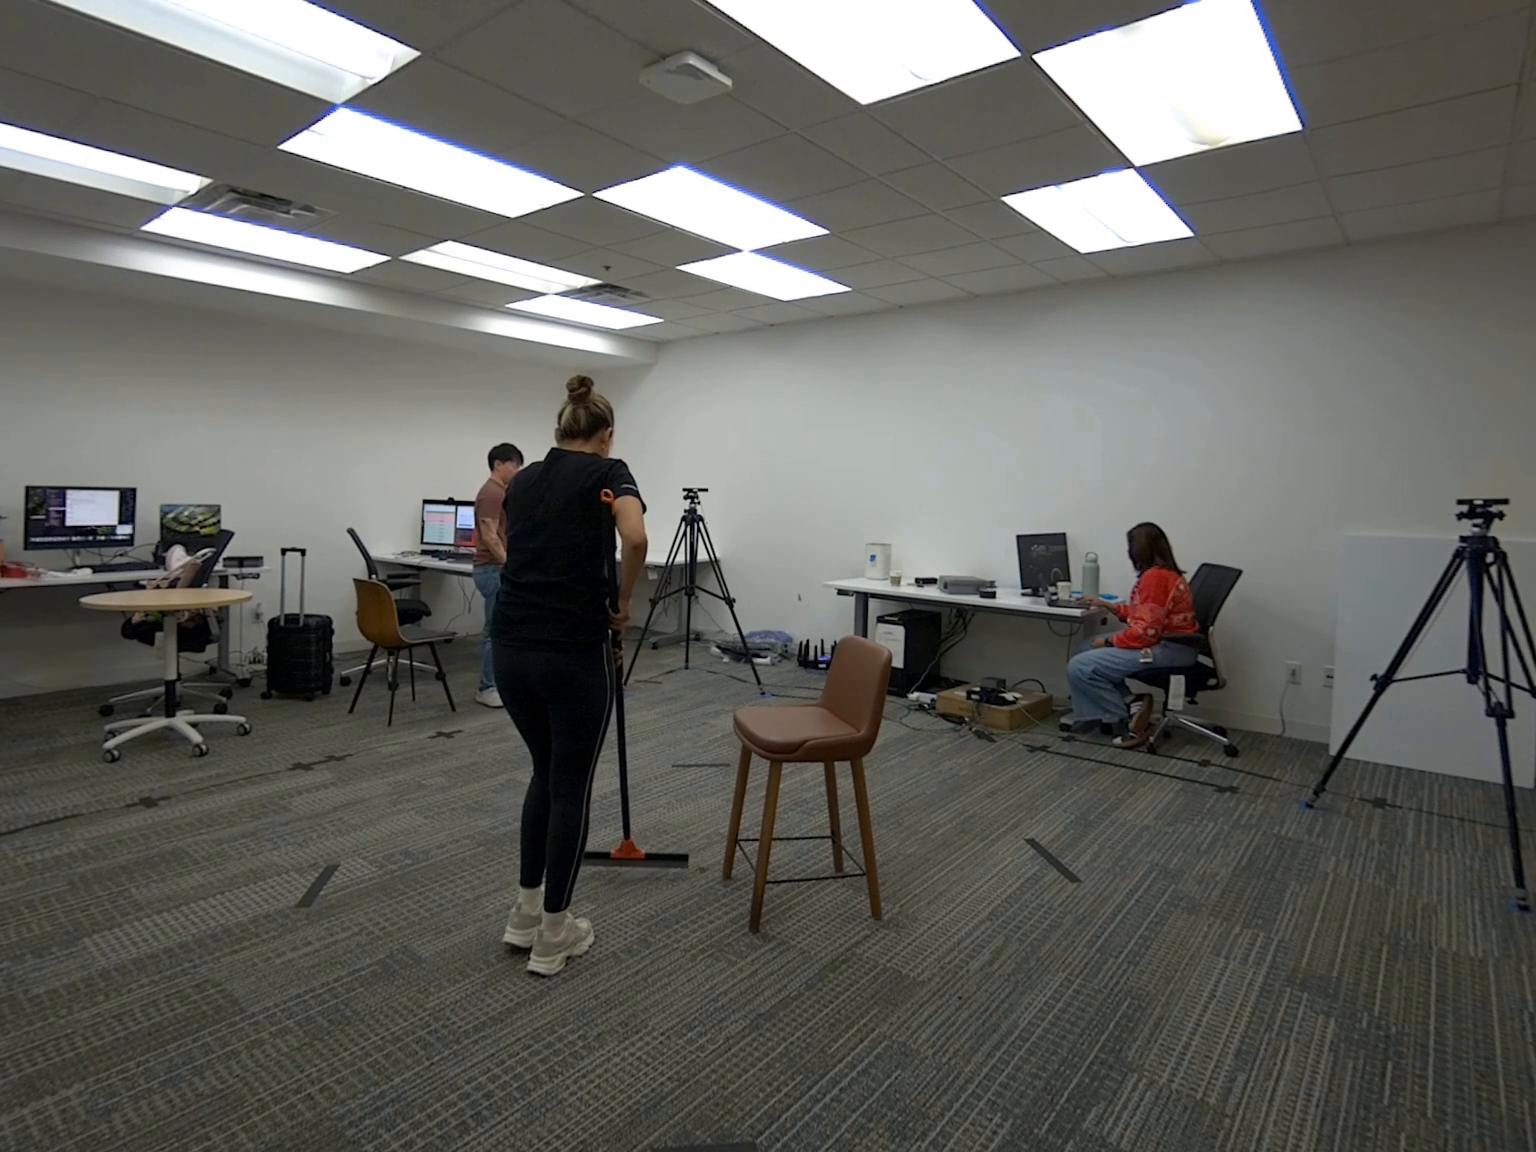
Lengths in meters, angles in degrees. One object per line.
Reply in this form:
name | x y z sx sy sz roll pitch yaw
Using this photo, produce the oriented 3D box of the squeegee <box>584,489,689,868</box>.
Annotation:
squeegee | -0.482 0.405 2.668 0.438 1.498 0.054 4 36 1
